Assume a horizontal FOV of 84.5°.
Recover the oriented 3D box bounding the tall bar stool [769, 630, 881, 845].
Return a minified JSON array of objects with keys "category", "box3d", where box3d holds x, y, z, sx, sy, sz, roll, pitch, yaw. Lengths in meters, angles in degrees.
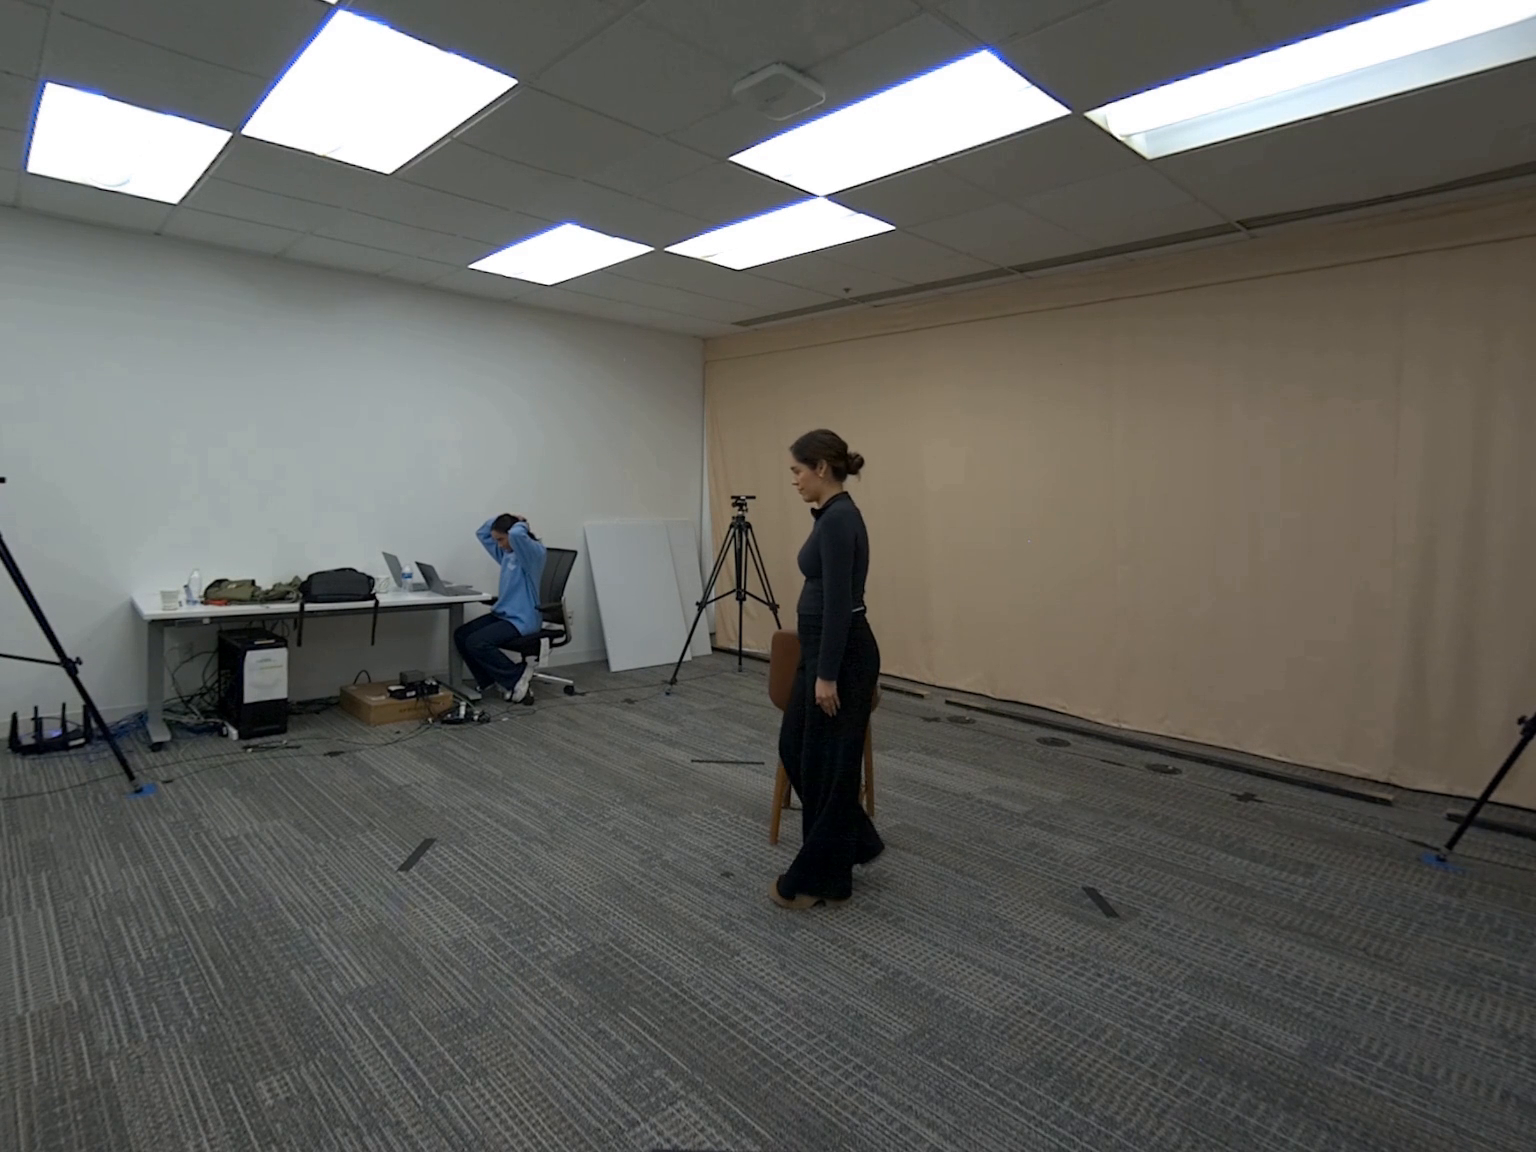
[{"category":"tall bar stool","box3d":[0.237,0.638,3.537,0.462,0.886,0.464,2,5,13]}]
